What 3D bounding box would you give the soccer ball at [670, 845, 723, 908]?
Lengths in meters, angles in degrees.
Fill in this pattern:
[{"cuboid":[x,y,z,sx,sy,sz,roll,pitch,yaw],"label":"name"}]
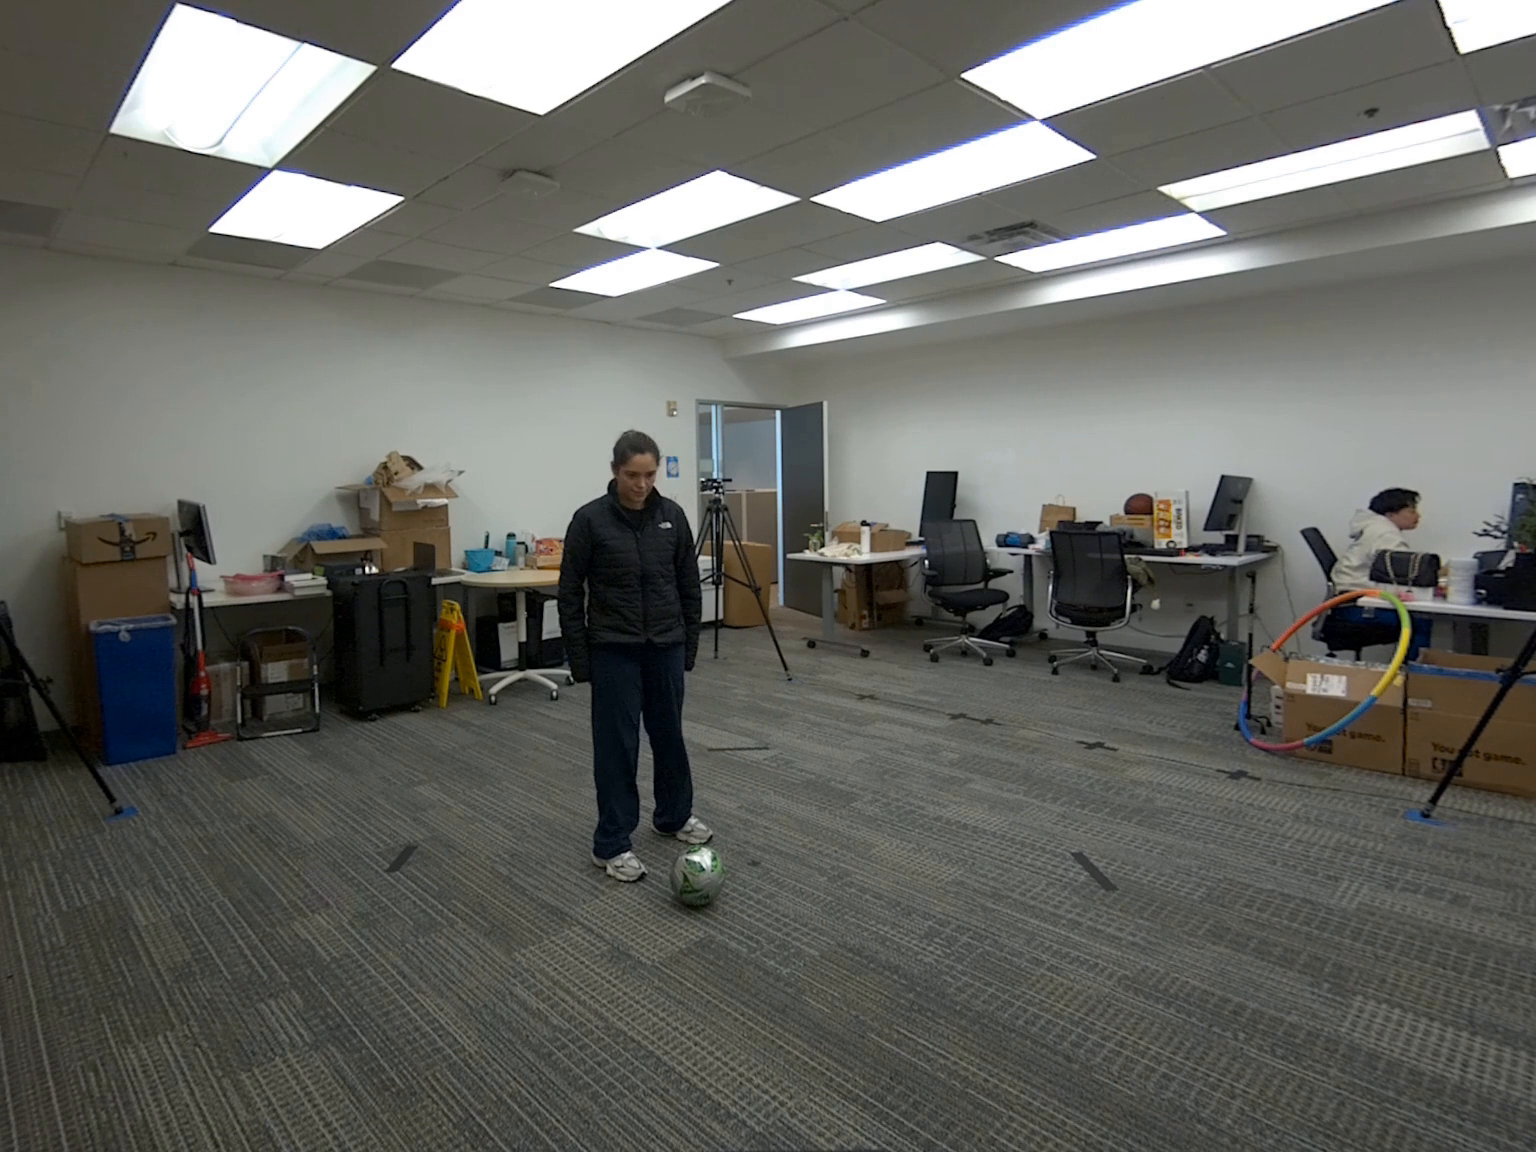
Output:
[{"cuboid":[-0.226,0.982,2.821,0.187,0.187,0.188,-1,5,-2],"label":"soccer ball"}]
